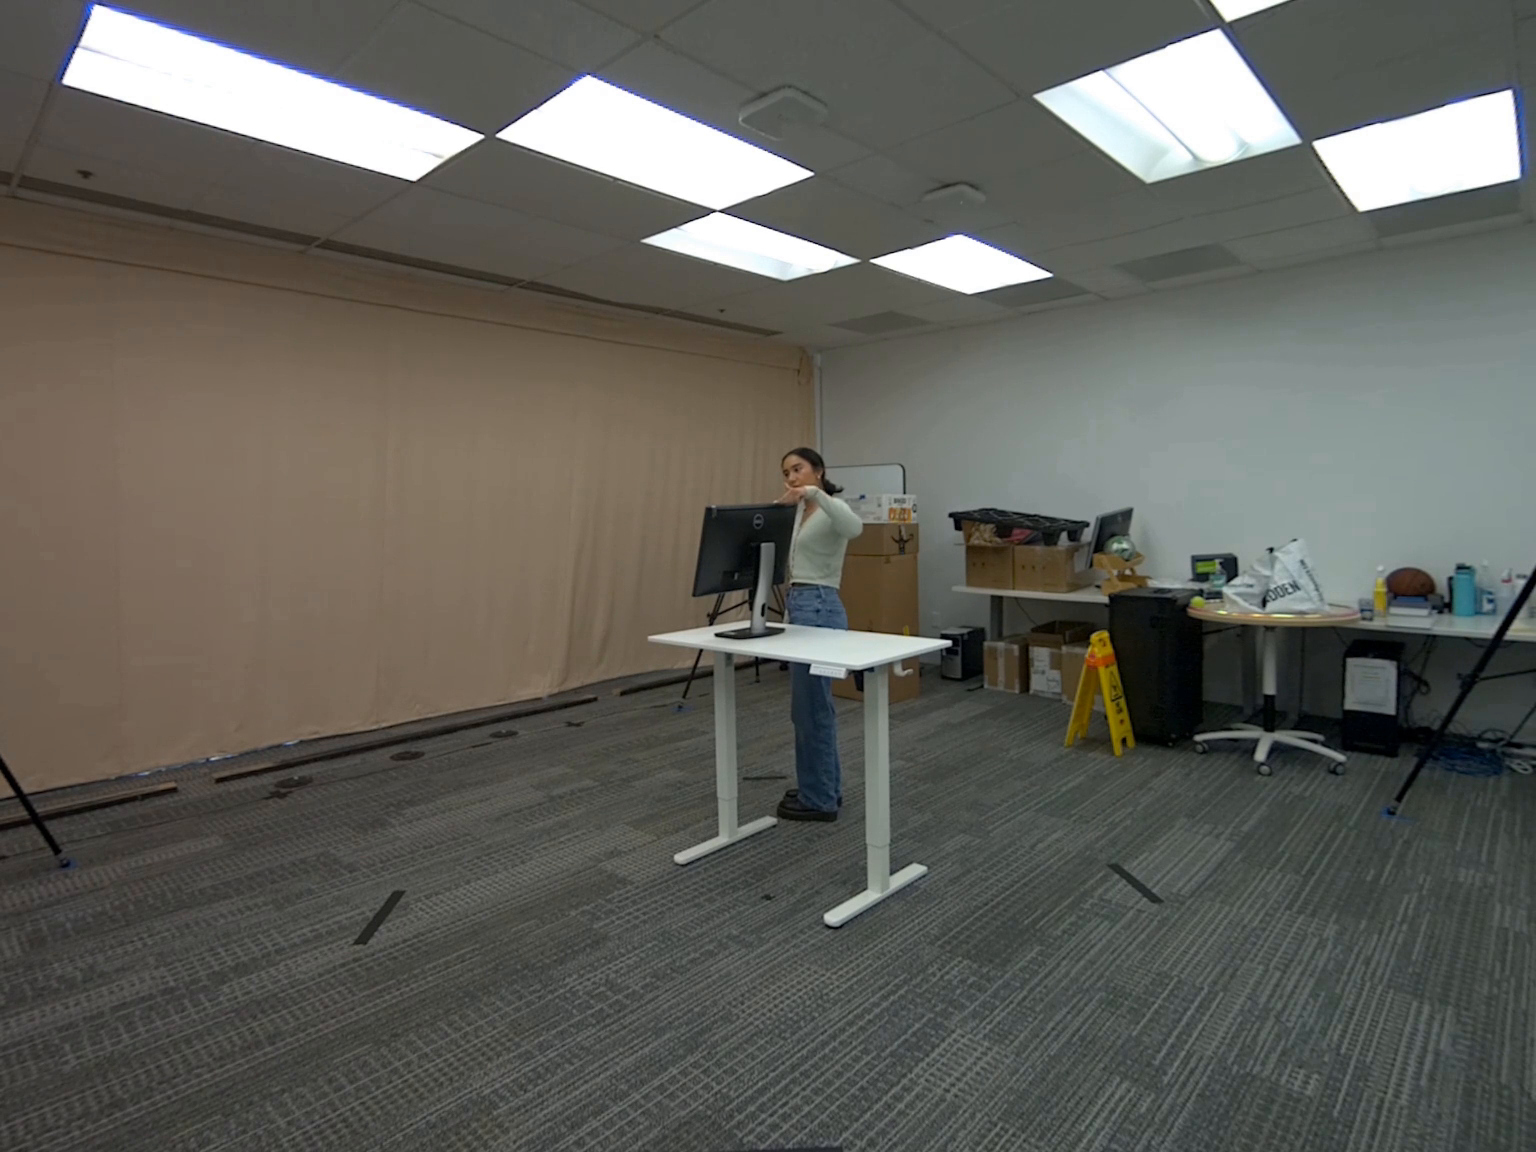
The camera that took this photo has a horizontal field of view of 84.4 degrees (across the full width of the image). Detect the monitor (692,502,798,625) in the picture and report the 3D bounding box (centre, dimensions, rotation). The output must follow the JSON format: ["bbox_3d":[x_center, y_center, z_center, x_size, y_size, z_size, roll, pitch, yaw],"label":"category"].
[{"bbox_3d":[-0.056,-0.019,3.305,0.193,0.521,0.523,4,7,40],"label":"monitor"}]
